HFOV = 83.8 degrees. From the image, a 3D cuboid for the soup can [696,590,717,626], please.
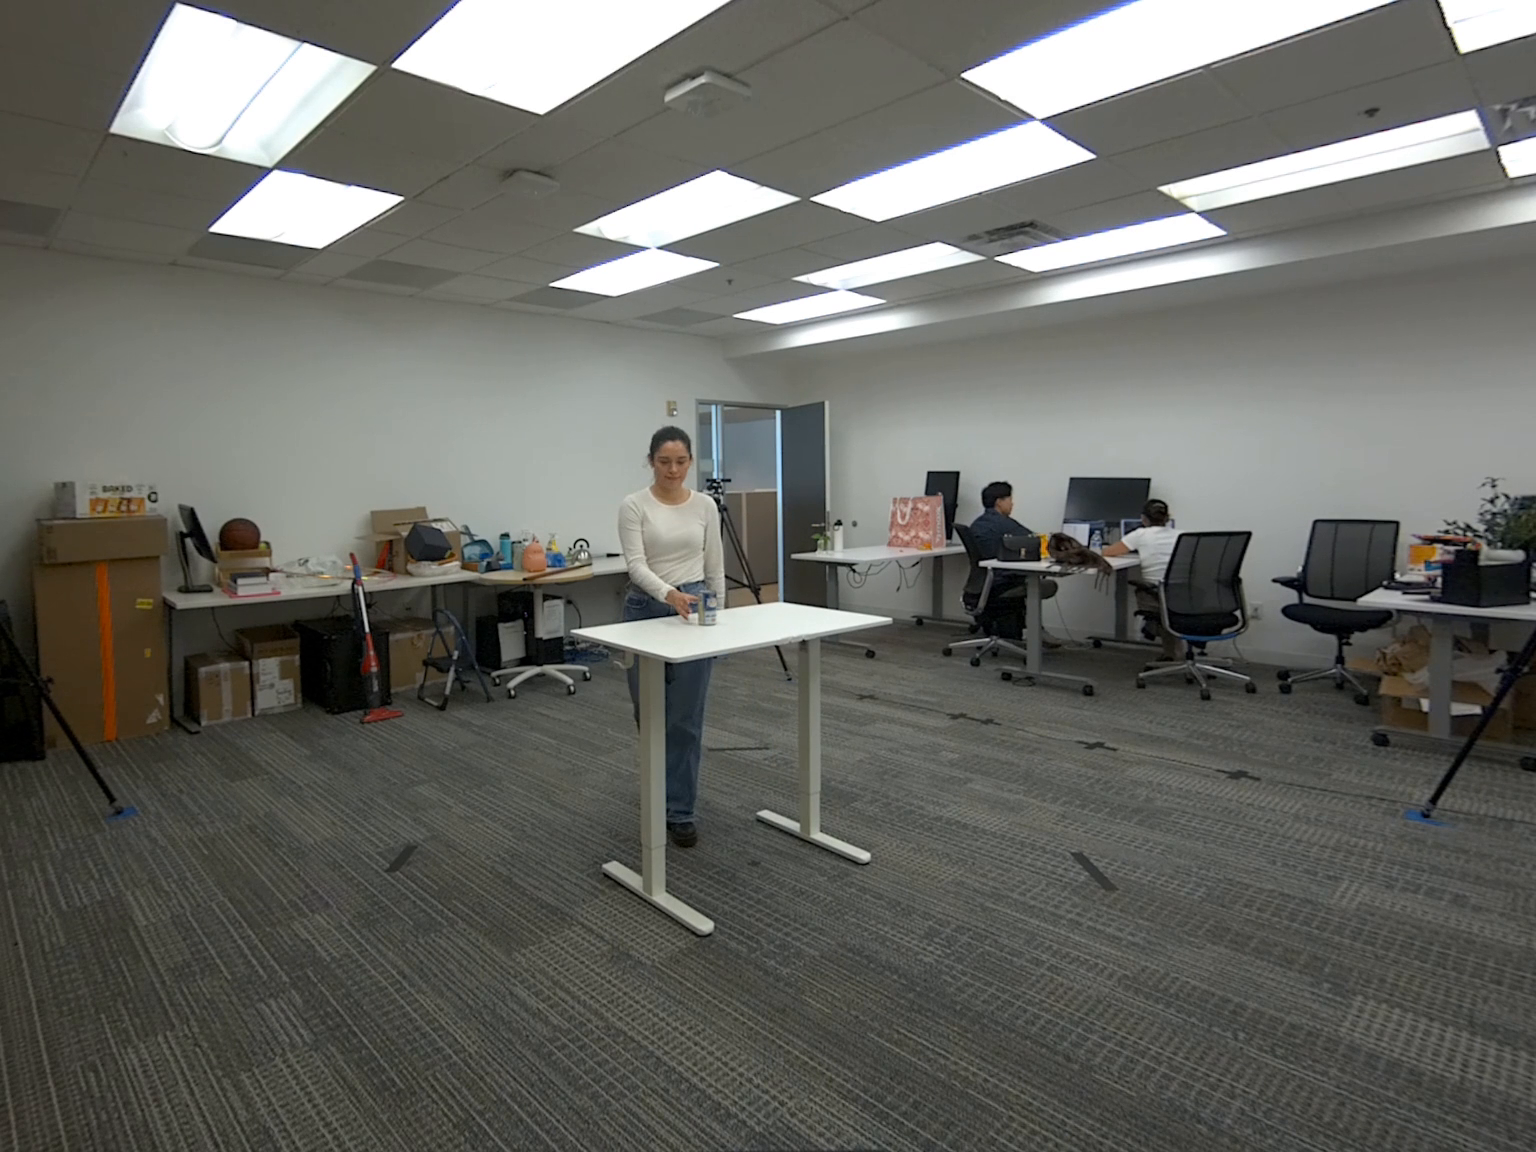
[{"bbox_3d":[-0.220,0.114,3.033,0.067,0.121,0.067,-2,3,-2],"label":"soup can"}]
